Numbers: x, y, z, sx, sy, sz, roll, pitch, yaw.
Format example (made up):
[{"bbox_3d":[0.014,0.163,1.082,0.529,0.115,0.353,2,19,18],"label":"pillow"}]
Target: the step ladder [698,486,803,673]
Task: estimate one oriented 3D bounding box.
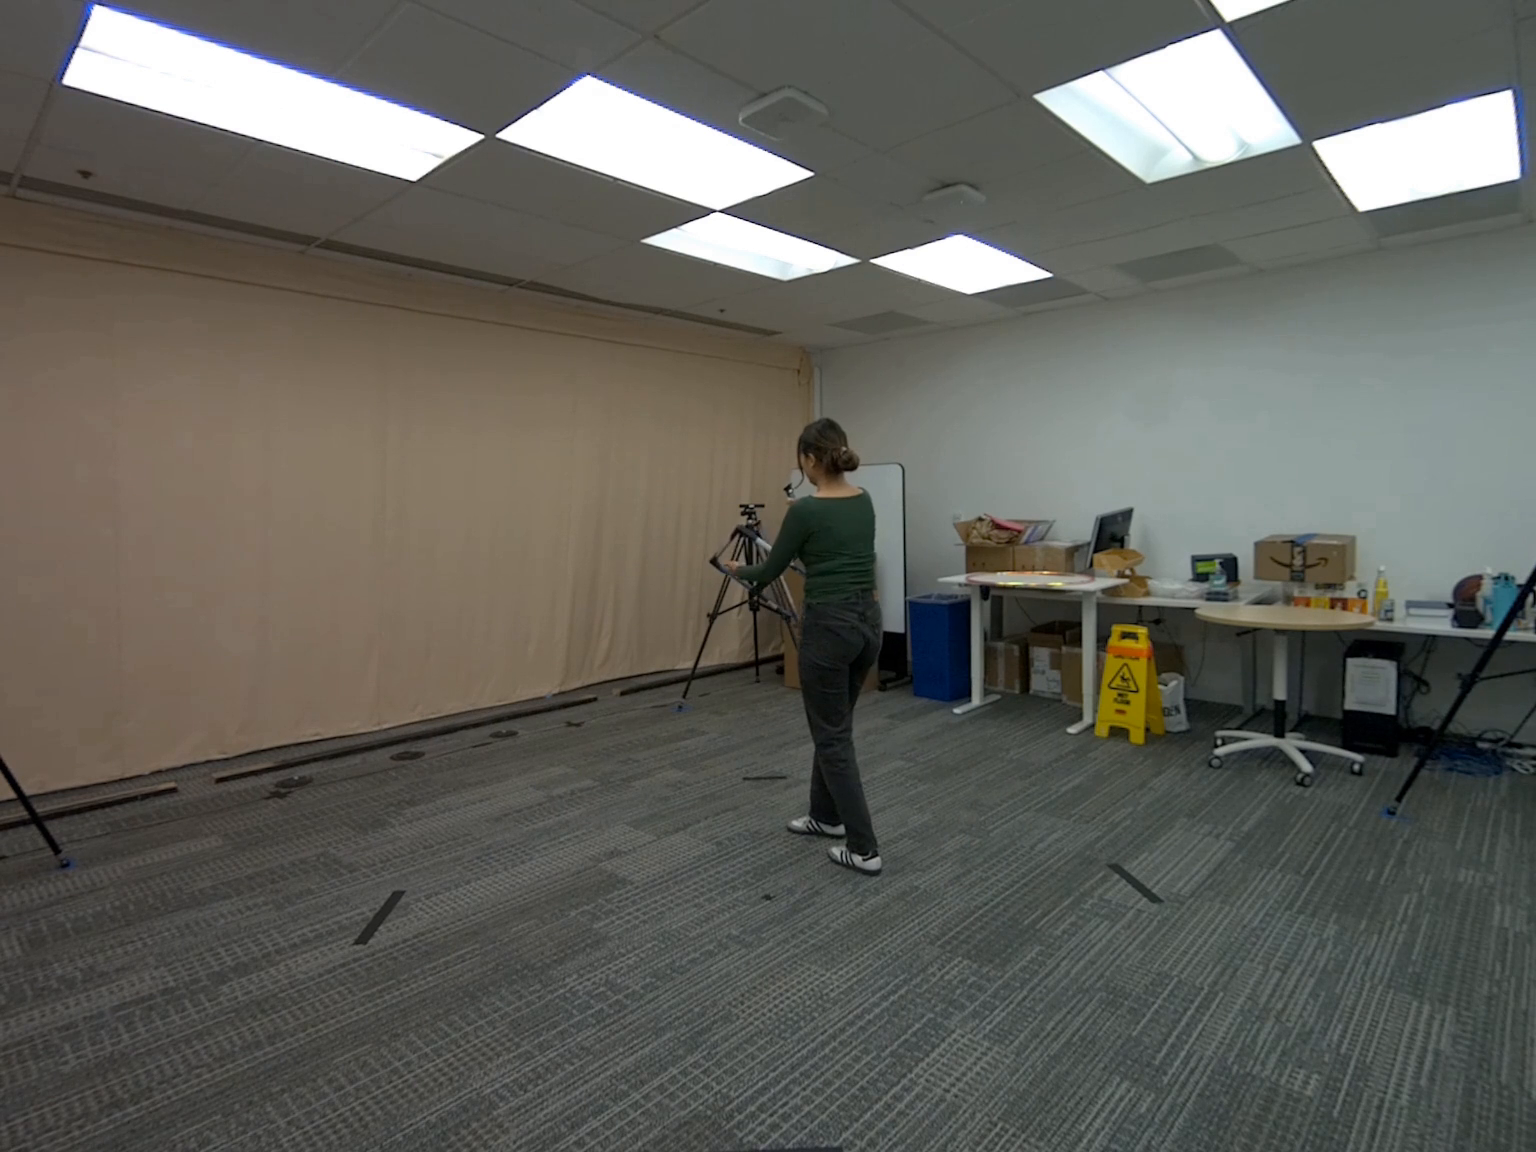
[{"bbox_3d":[0.105,-0.001,3.721,0.345,0.610,0.432,-39,-5,-27],"label":"step ladder"}]
